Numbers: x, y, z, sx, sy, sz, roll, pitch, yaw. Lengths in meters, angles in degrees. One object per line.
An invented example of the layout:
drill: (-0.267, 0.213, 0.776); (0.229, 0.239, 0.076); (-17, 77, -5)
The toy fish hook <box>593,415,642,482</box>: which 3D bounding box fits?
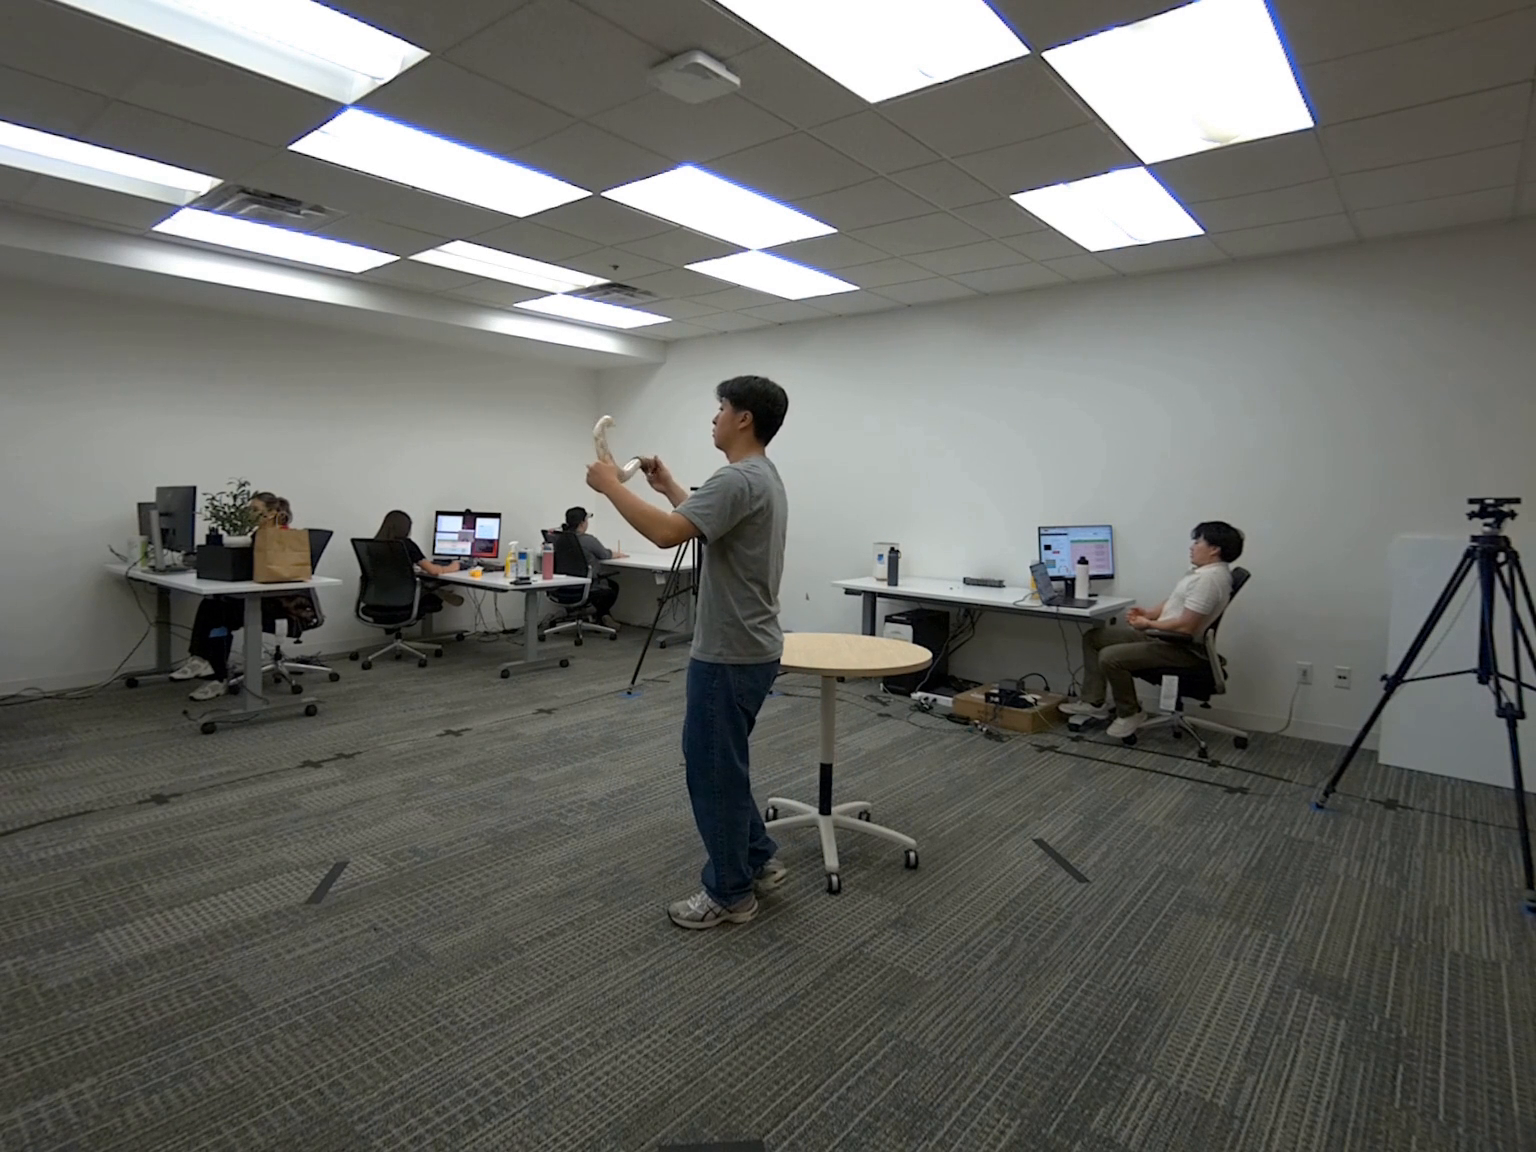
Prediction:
toy fish hook: (-0.488, -0.428, 2.875); (0.049, 0.223, 0.503); (-6, 7, 11)
